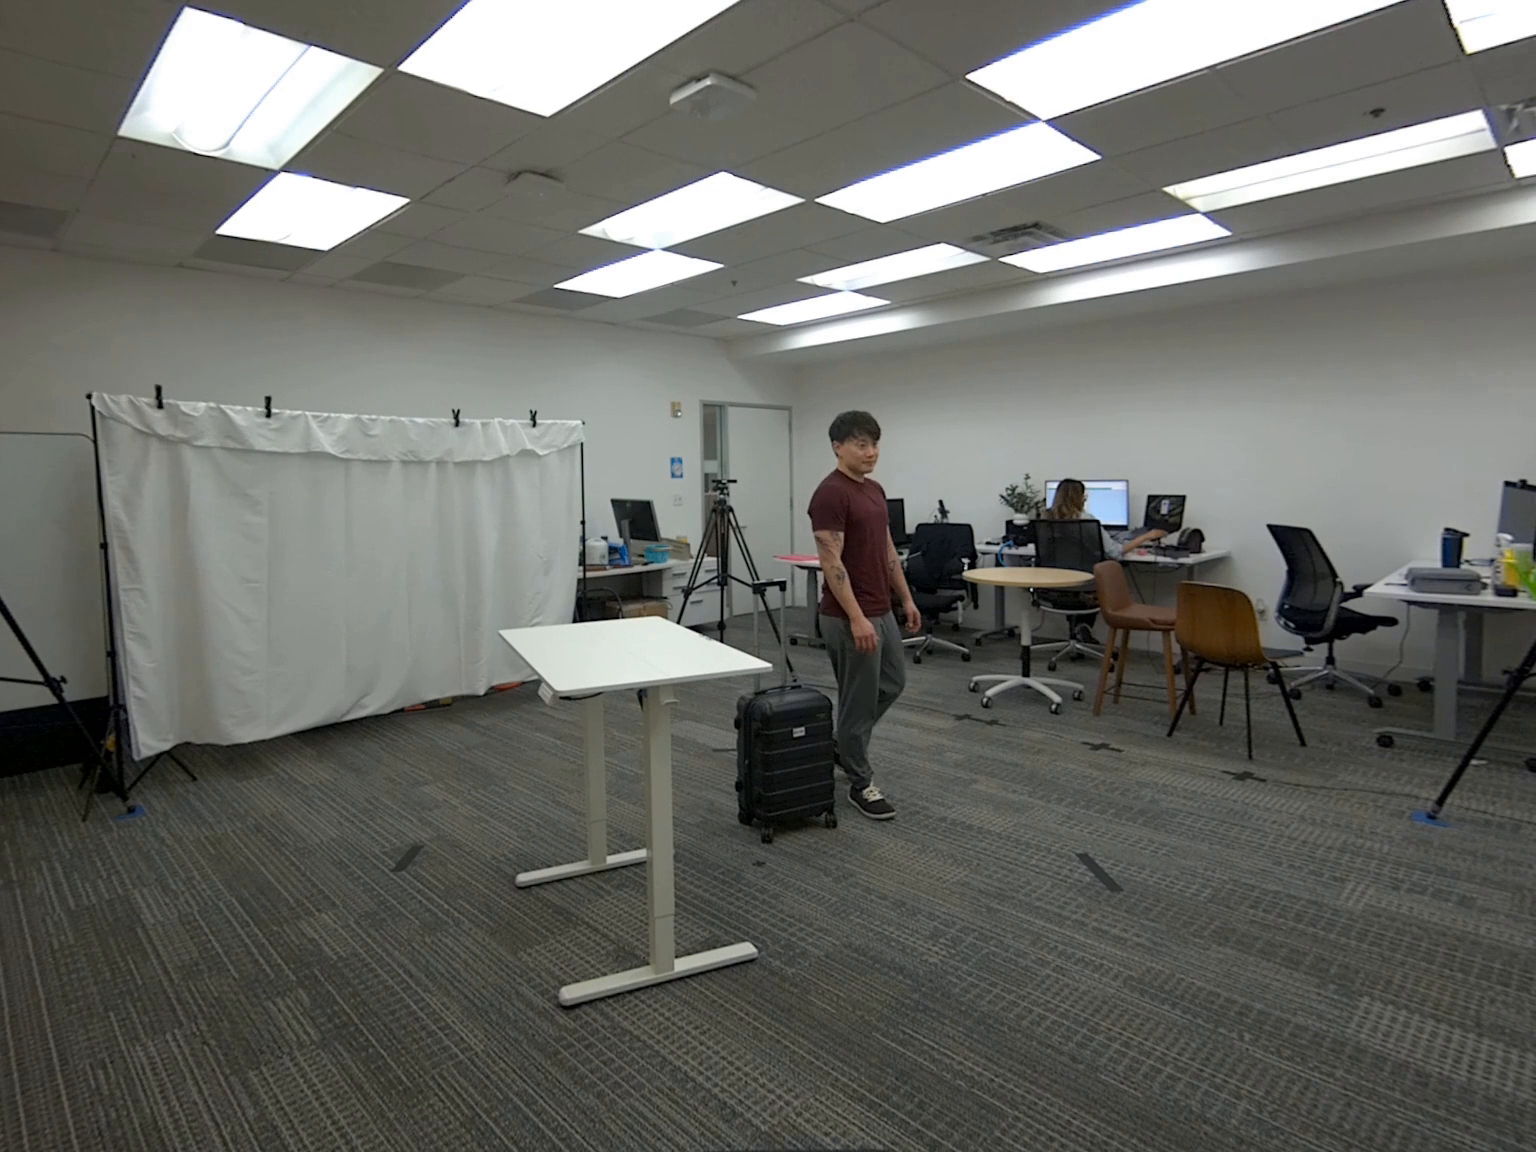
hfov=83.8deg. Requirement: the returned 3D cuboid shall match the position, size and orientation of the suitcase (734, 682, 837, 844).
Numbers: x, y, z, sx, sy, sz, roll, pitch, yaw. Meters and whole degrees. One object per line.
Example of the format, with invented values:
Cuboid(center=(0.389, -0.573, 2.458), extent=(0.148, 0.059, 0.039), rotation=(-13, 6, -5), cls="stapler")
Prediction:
Cuboid(center=(0.066, 0.531, 3.441), extent=(0.376, 0.974, 0.263), rotation=(-3, 5, -25), cls="suitcase")
